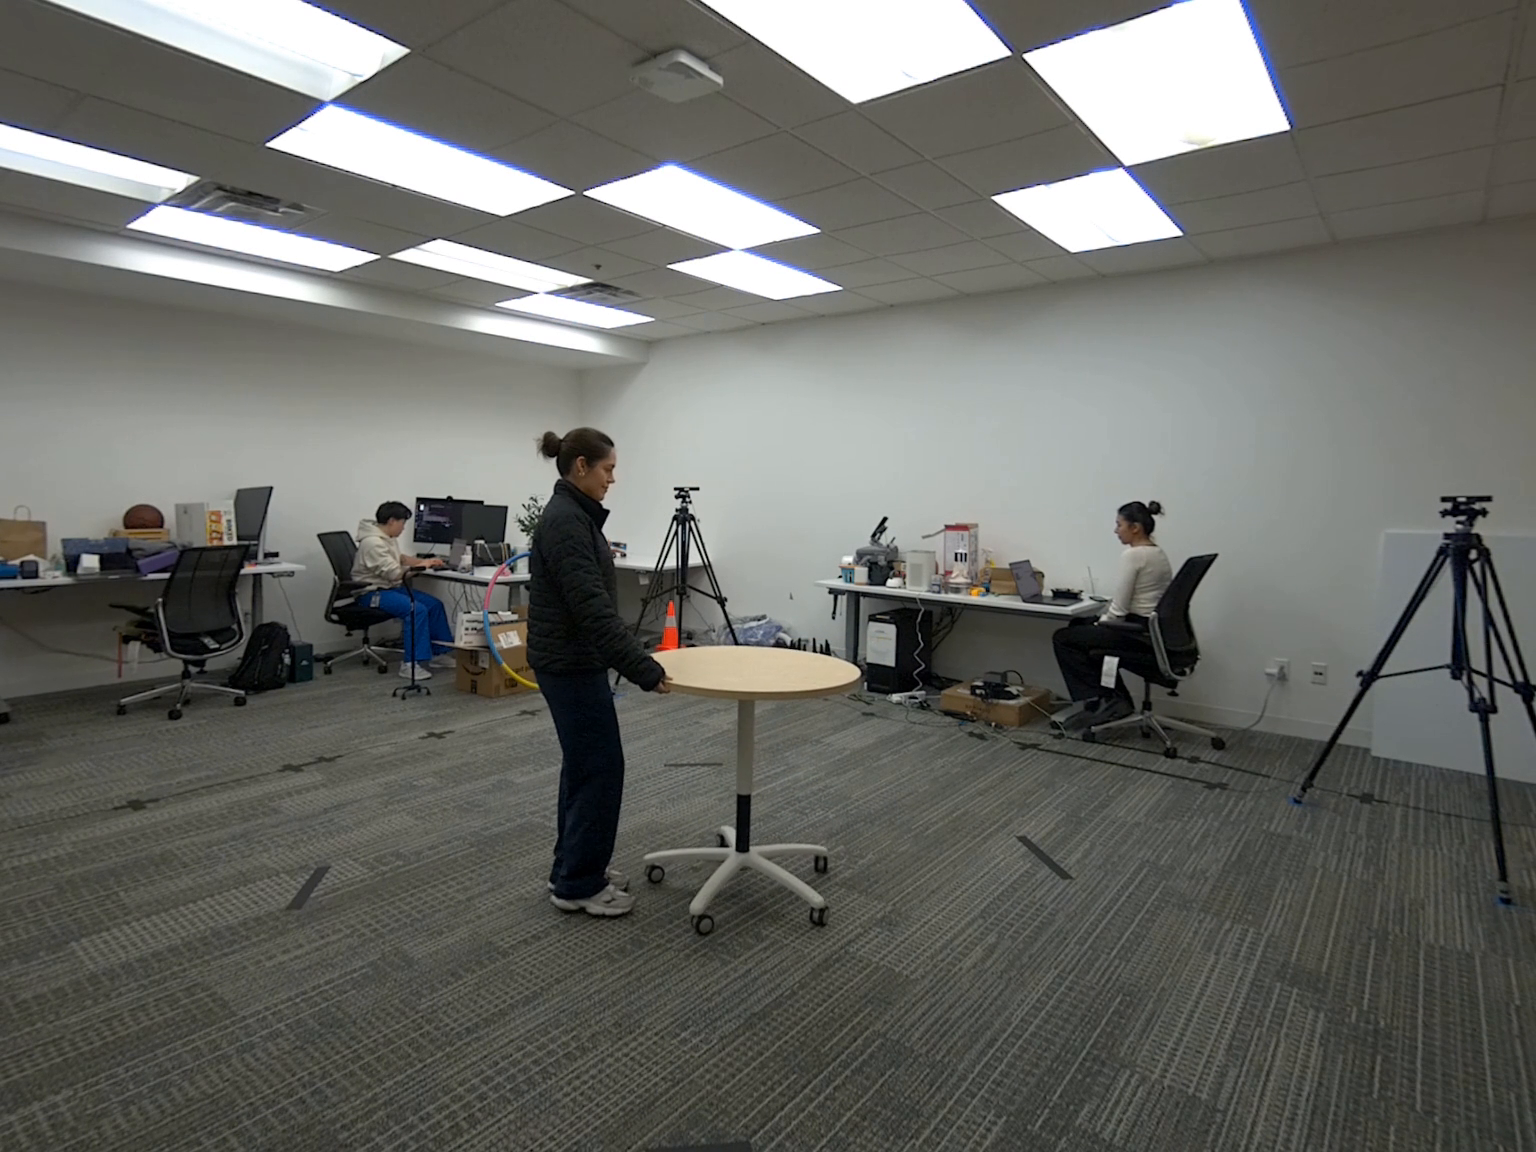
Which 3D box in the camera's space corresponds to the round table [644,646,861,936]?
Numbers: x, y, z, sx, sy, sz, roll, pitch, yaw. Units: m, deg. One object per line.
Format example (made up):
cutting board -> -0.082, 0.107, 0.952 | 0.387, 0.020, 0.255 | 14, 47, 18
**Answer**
round table -> -0.077, 0.694, 2.943 | 0.784, 0.784, 0.789 | 2, 4, -2
